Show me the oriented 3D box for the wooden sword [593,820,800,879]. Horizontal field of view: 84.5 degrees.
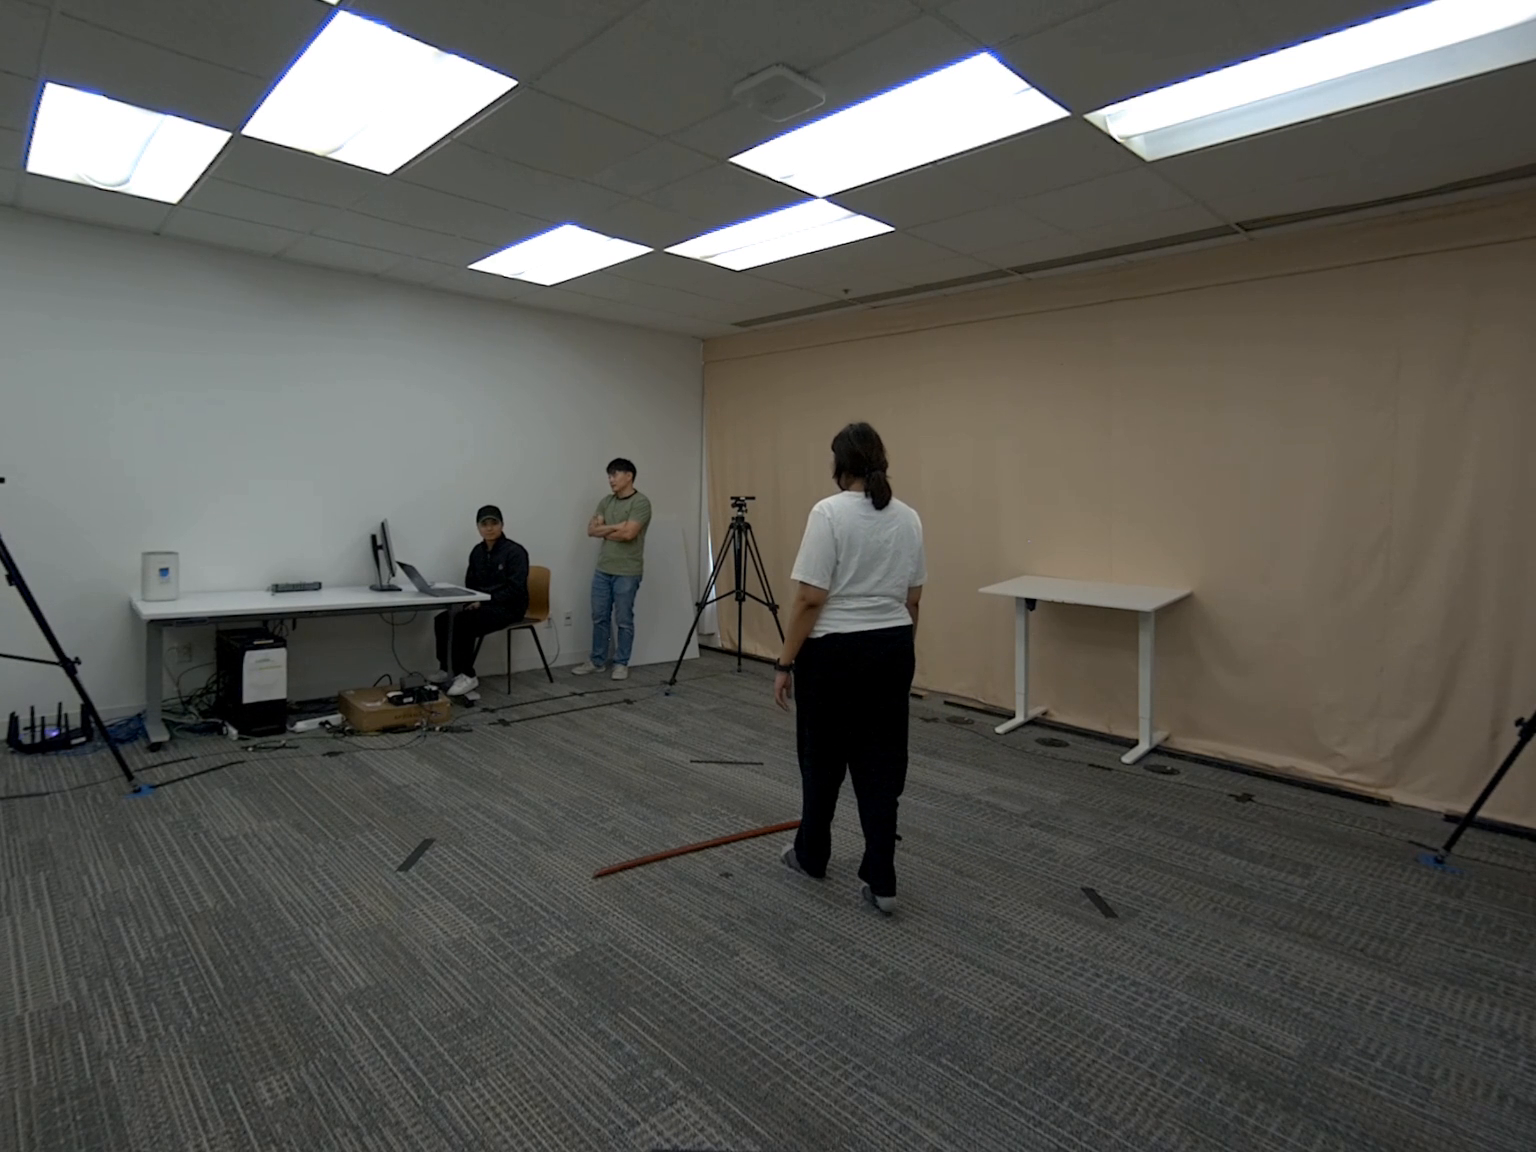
[{"bbox_3d":[-0.229,1.061,3.337,1.002,0.024,0.053,-2,26,-35],"label":"wooden sword"}]
